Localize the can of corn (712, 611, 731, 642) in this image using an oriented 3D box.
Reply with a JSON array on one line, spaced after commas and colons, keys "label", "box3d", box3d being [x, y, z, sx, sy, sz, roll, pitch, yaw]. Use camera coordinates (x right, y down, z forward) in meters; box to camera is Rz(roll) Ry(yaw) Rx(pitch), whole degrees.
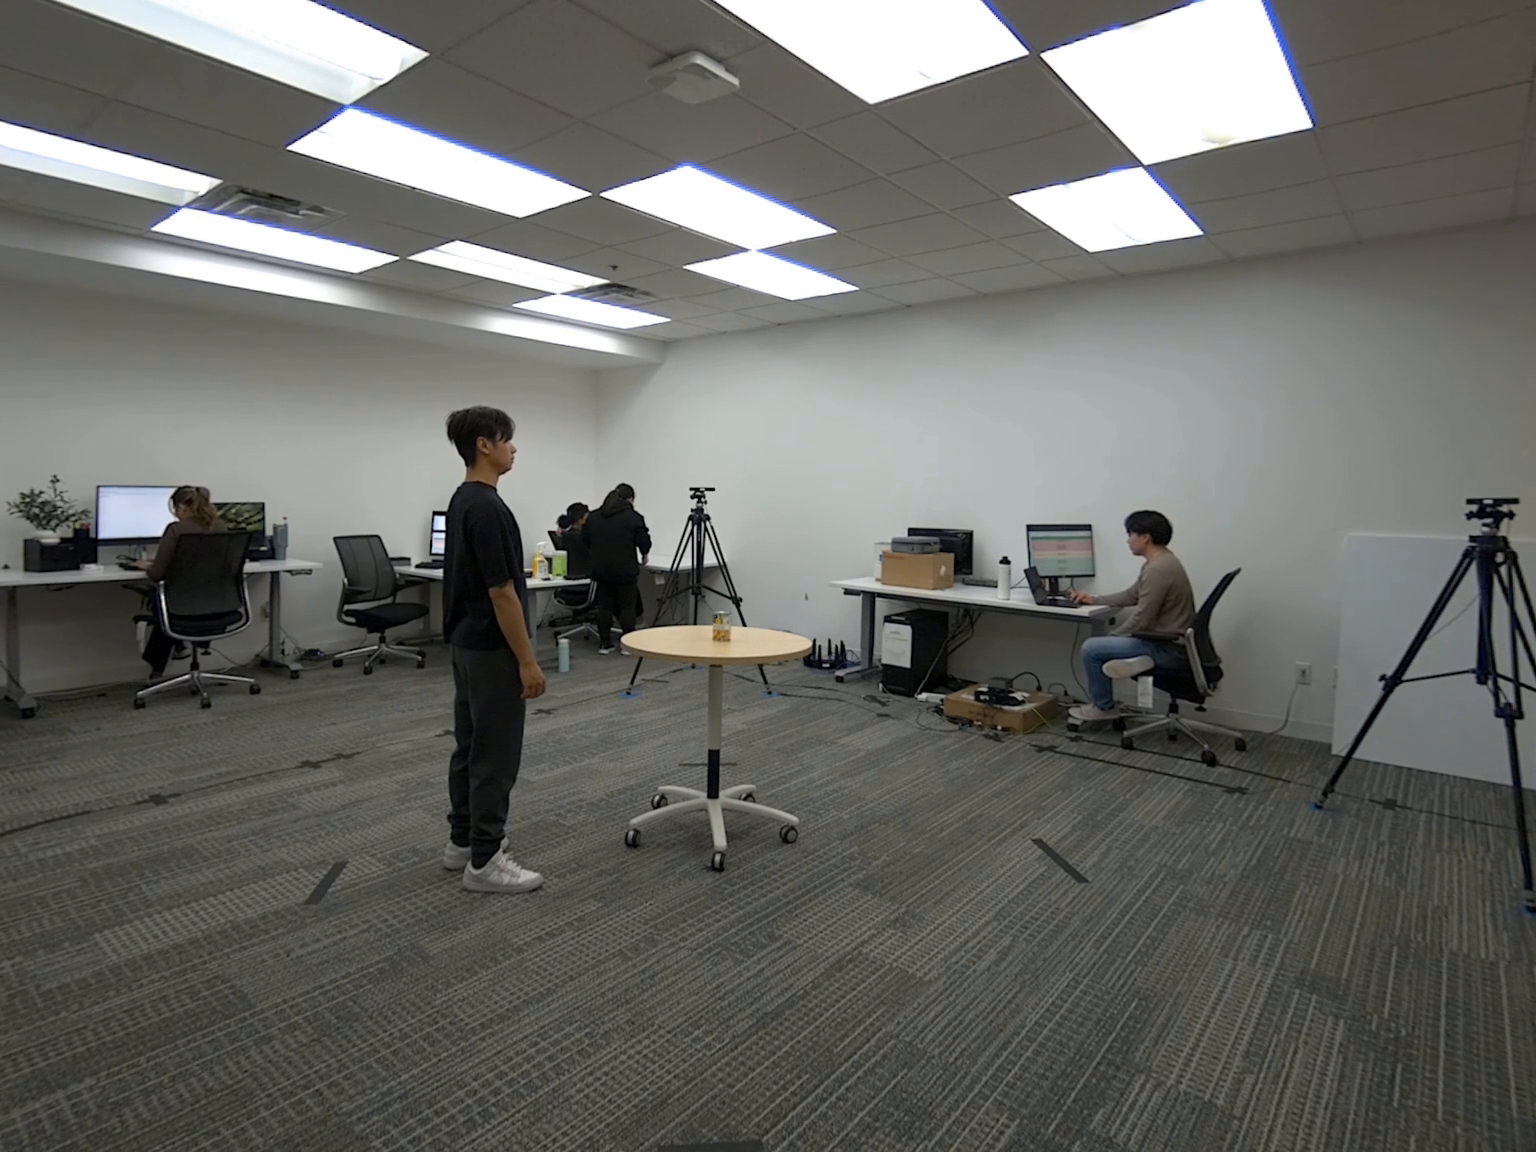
[{"label": "can of corn", "box3d": [-0.200, 0.203, 3.413, 0.074, 0.111, 0.074, 2, 0, -2]}]
